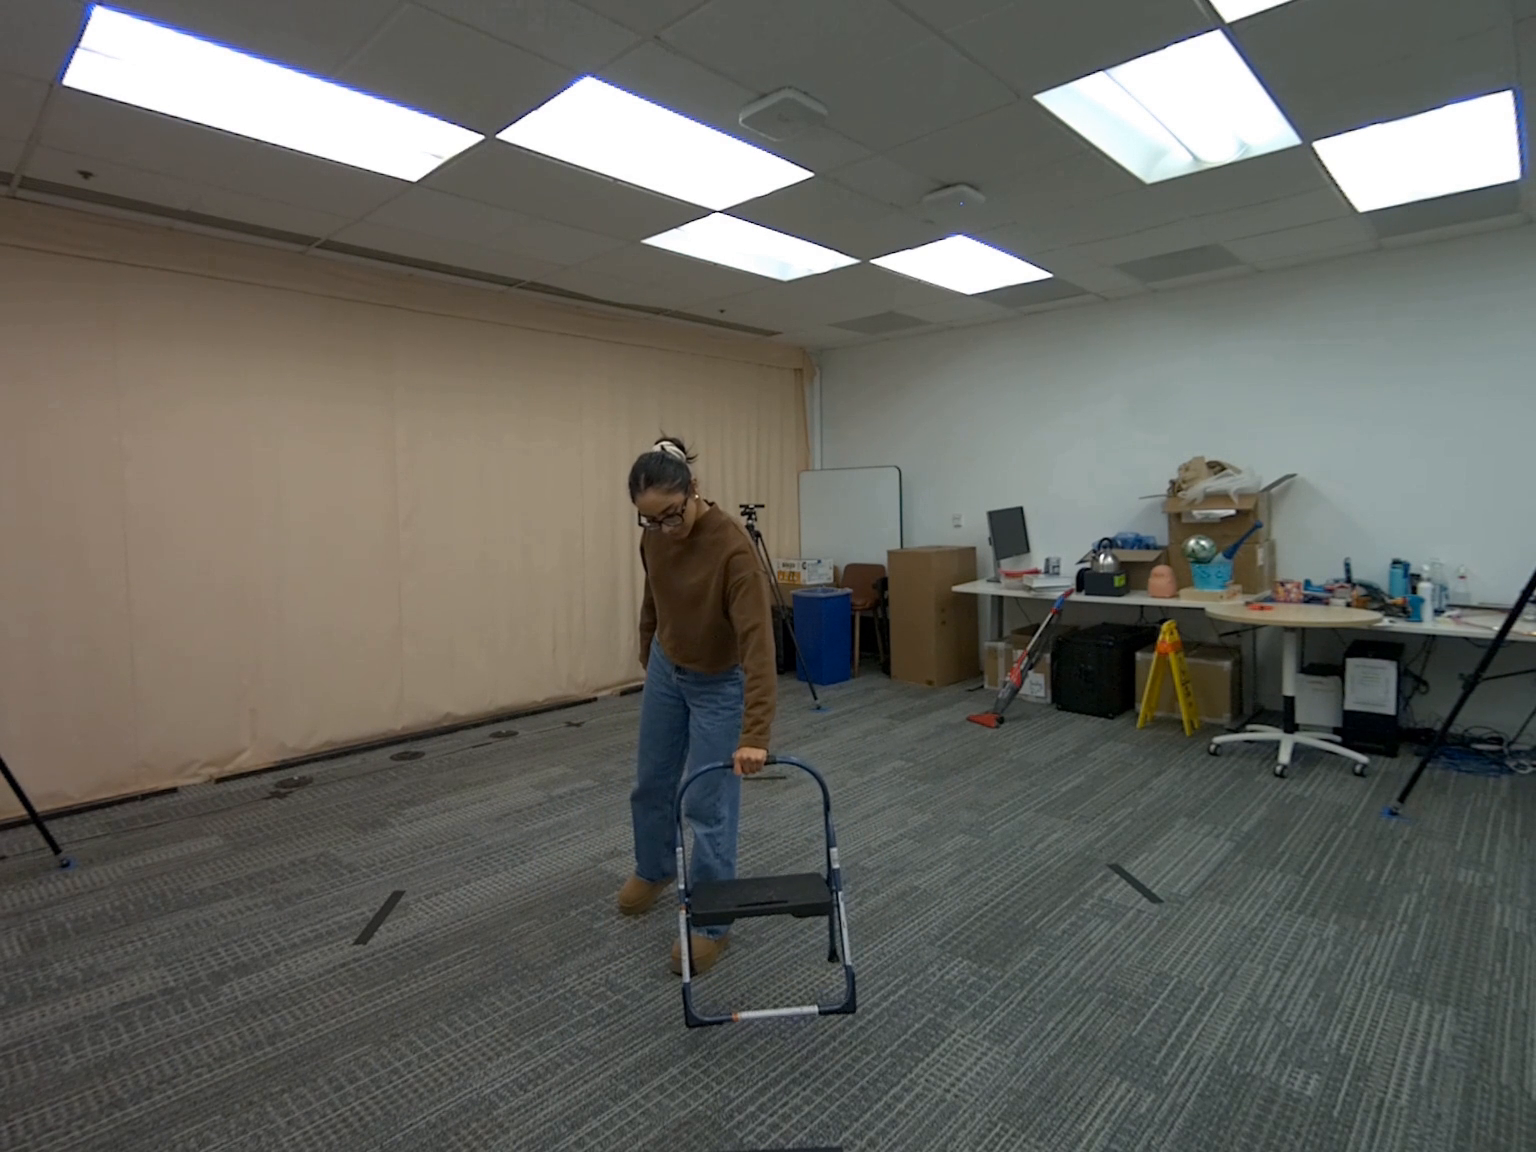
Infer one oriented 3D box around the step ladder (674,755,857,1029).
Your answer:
[{"bbox_3d":[-0.024,0.778,2.186,0.429,0.608,0.349,-5,-4,-3],"label":"step ladder"}]
